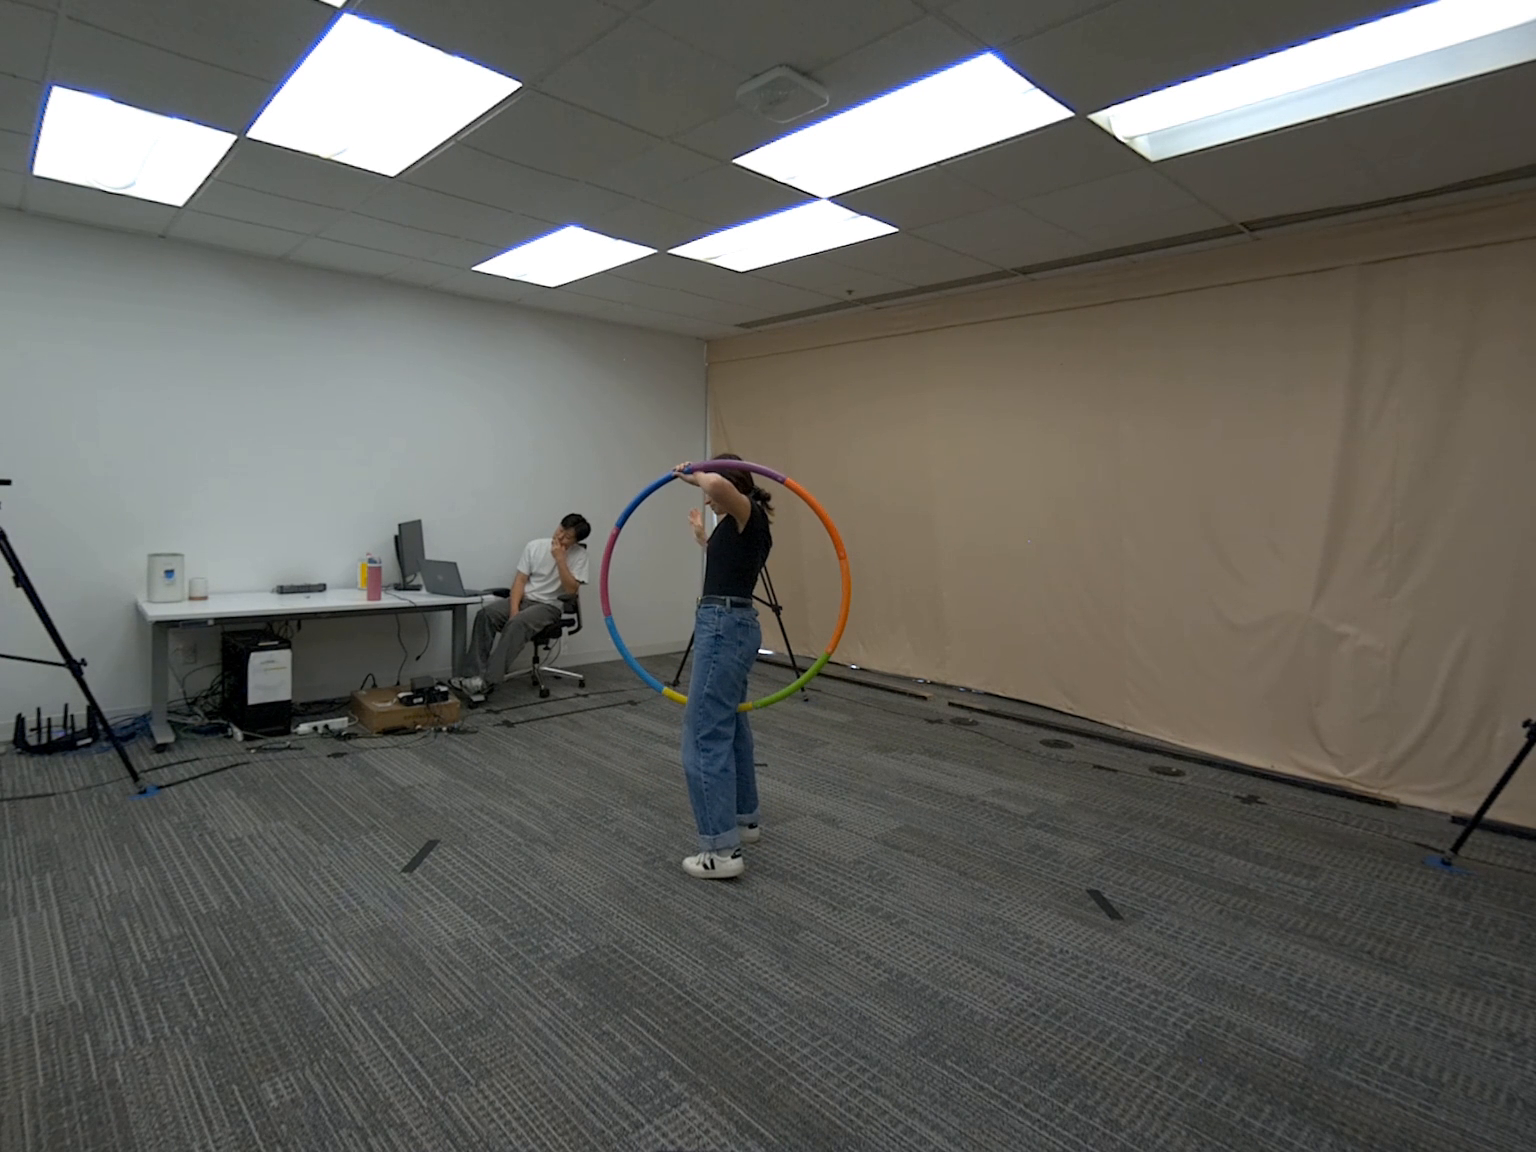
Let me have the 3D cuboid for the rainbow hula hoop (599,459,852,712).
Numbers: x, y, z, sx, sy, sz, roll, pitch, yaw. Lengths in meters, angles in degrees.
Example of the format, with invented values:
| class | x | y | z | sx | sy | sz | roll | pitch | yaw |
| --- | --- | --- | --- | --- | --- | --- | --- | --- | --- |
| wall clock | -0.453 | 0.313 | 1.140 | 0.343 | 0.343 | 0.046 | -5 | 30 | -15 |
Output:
| class | x | y | z | sx | sy | sz | roll | pitch | yaw |
| --- | --- | --- | --- | --- | --- | --- | --- | --- | --- |
| rainbow hula hoop | -0.180 | 0.045 | 3.253 | 0.984 | 0.974 | 0.035 | 2 | 6 | 7 |
